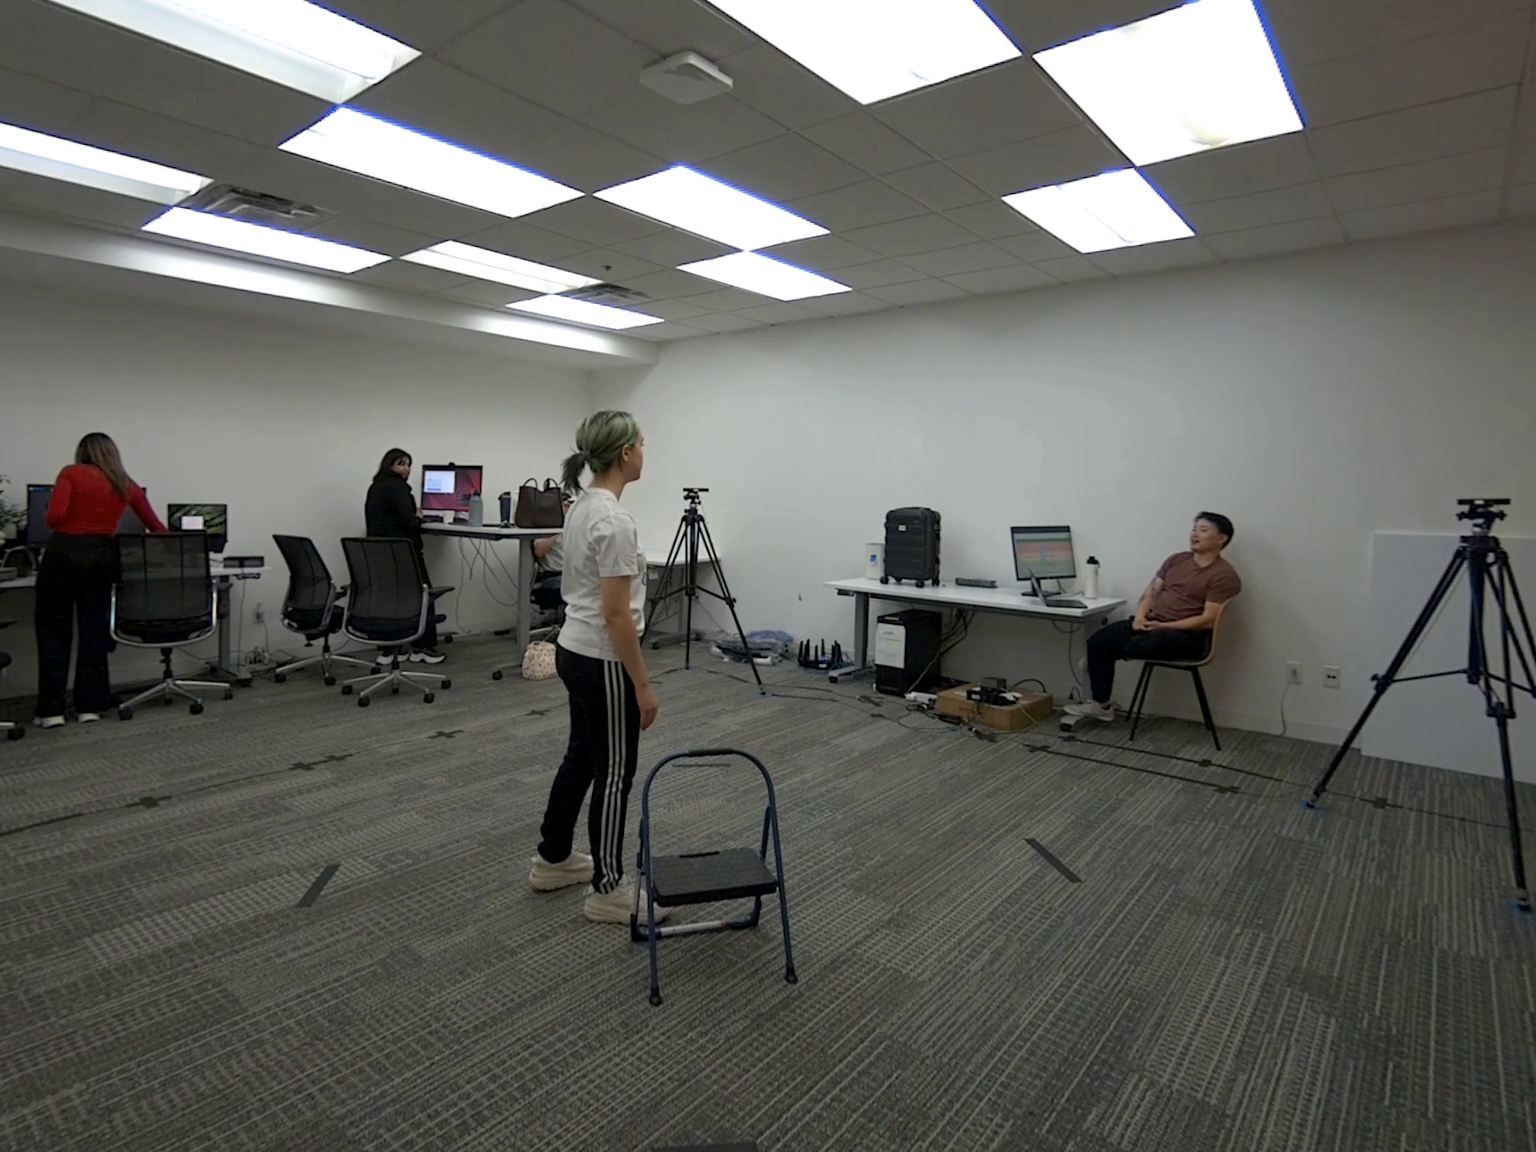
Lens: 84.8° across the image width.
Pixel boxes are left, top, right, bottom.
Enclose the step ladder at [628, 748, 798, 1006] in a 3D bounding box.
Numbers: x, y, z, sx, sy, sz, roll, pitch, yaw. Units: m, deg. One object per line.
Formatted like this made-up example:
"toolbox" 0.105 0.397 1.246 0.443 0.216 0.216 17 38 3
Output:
"step ladder" -0.172 0.831 2.491 0.423 0.604 0.357 0 4 -19
